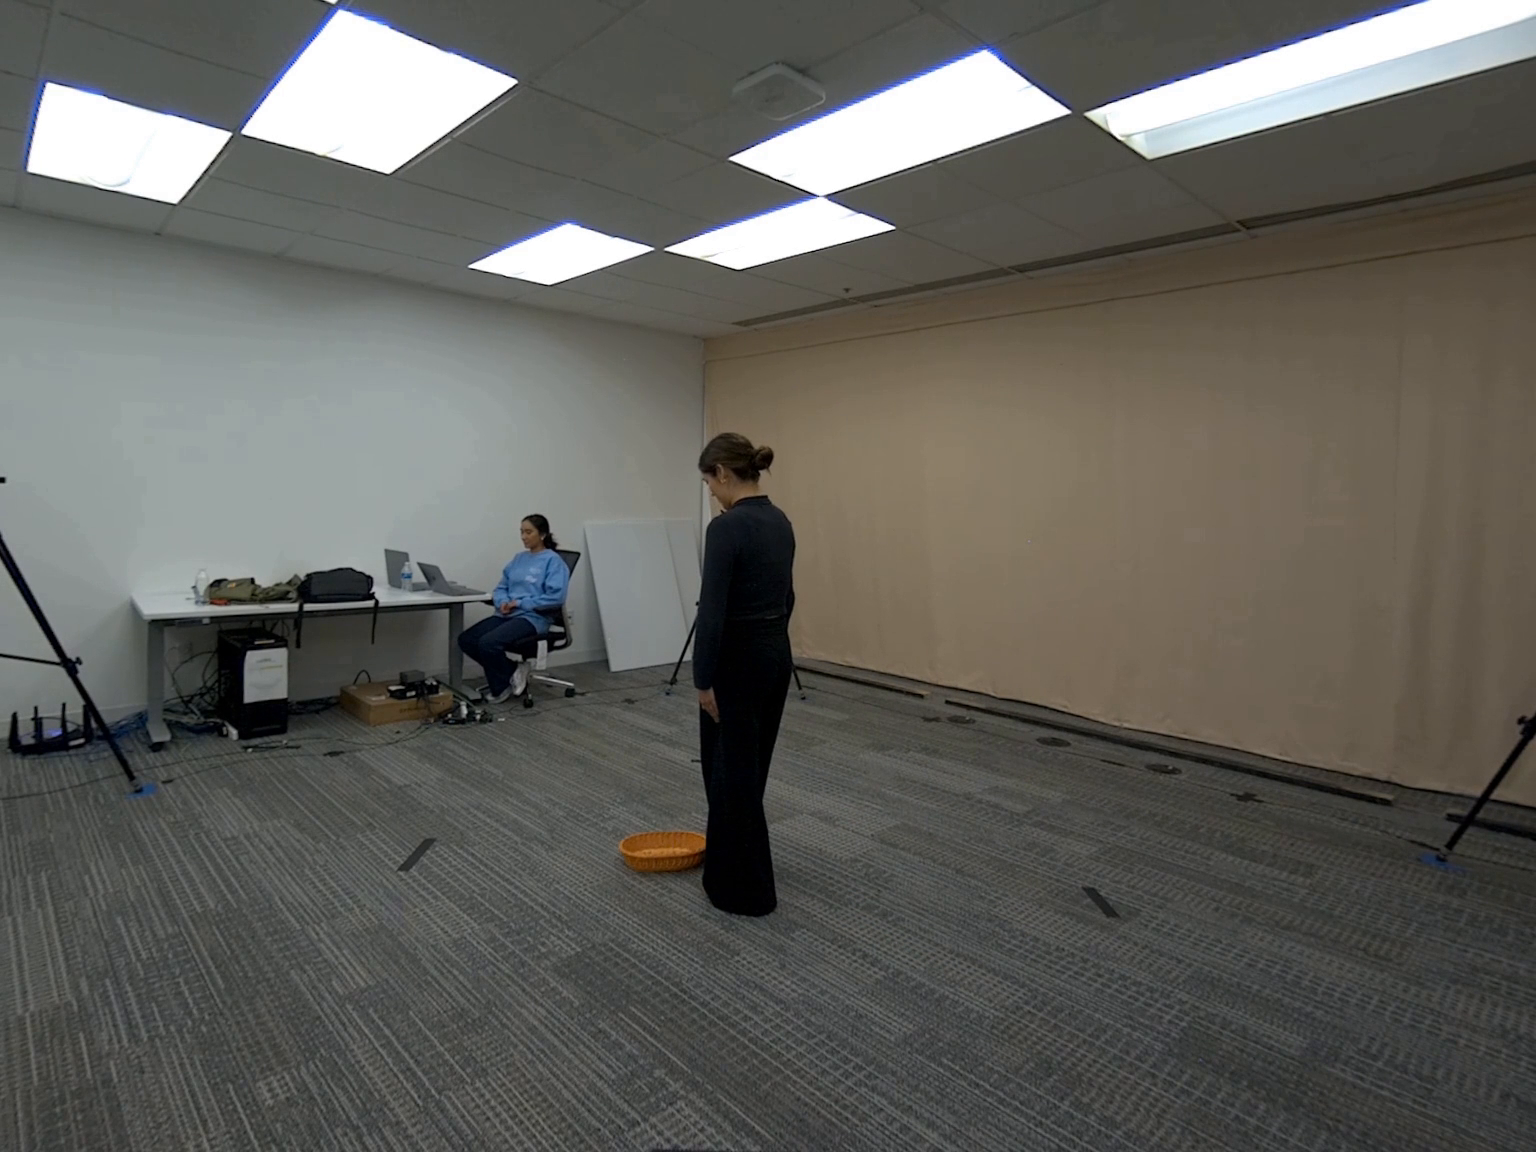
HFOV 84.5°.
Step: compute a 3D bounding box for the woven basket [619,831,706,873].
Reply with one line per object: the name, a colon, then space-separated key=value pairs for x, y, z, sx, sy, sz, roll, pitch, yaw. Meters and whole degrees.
woven basket: x=-0.402 y=1.043 z=3.207 sx=0.348 sy=0.073 sz=0.254 roll=-1 pitch=3 yaw=-8
